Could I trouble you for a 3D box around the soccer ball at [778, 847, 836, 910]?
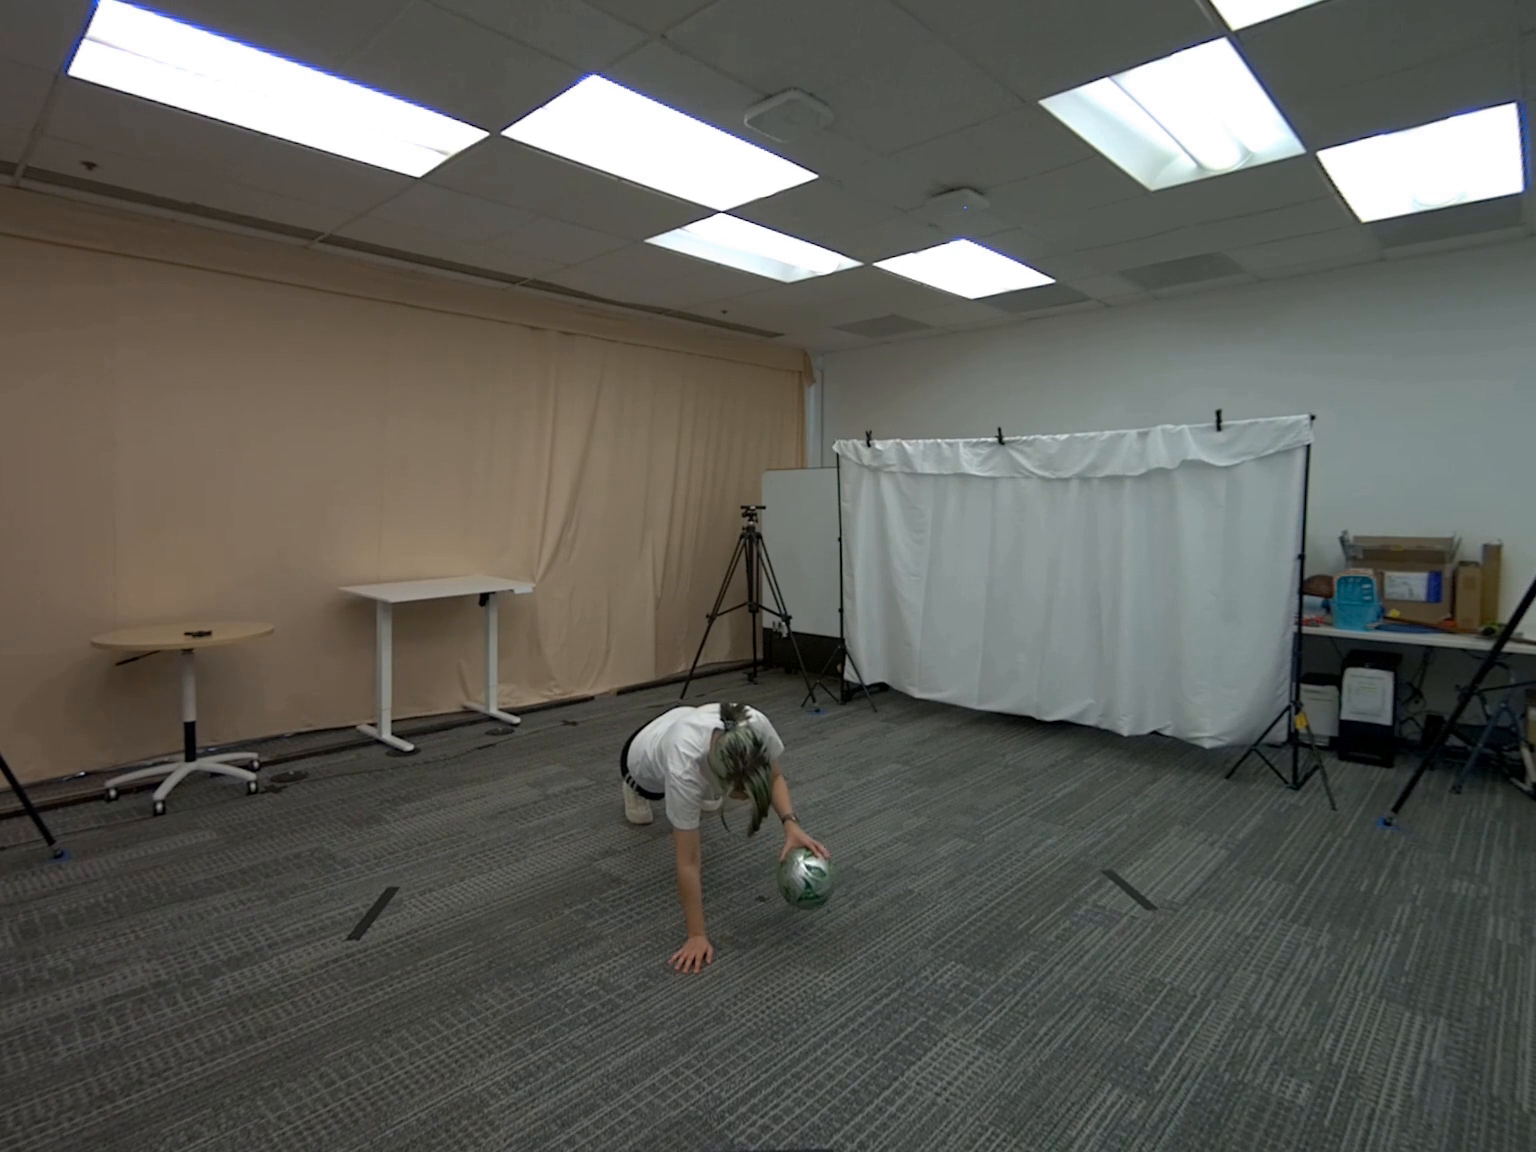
[{"bbox_3d":[0.106,0.963,2.654,0.187,0.187,0.188,0,4,-2],"label":"soccer ball"}]
